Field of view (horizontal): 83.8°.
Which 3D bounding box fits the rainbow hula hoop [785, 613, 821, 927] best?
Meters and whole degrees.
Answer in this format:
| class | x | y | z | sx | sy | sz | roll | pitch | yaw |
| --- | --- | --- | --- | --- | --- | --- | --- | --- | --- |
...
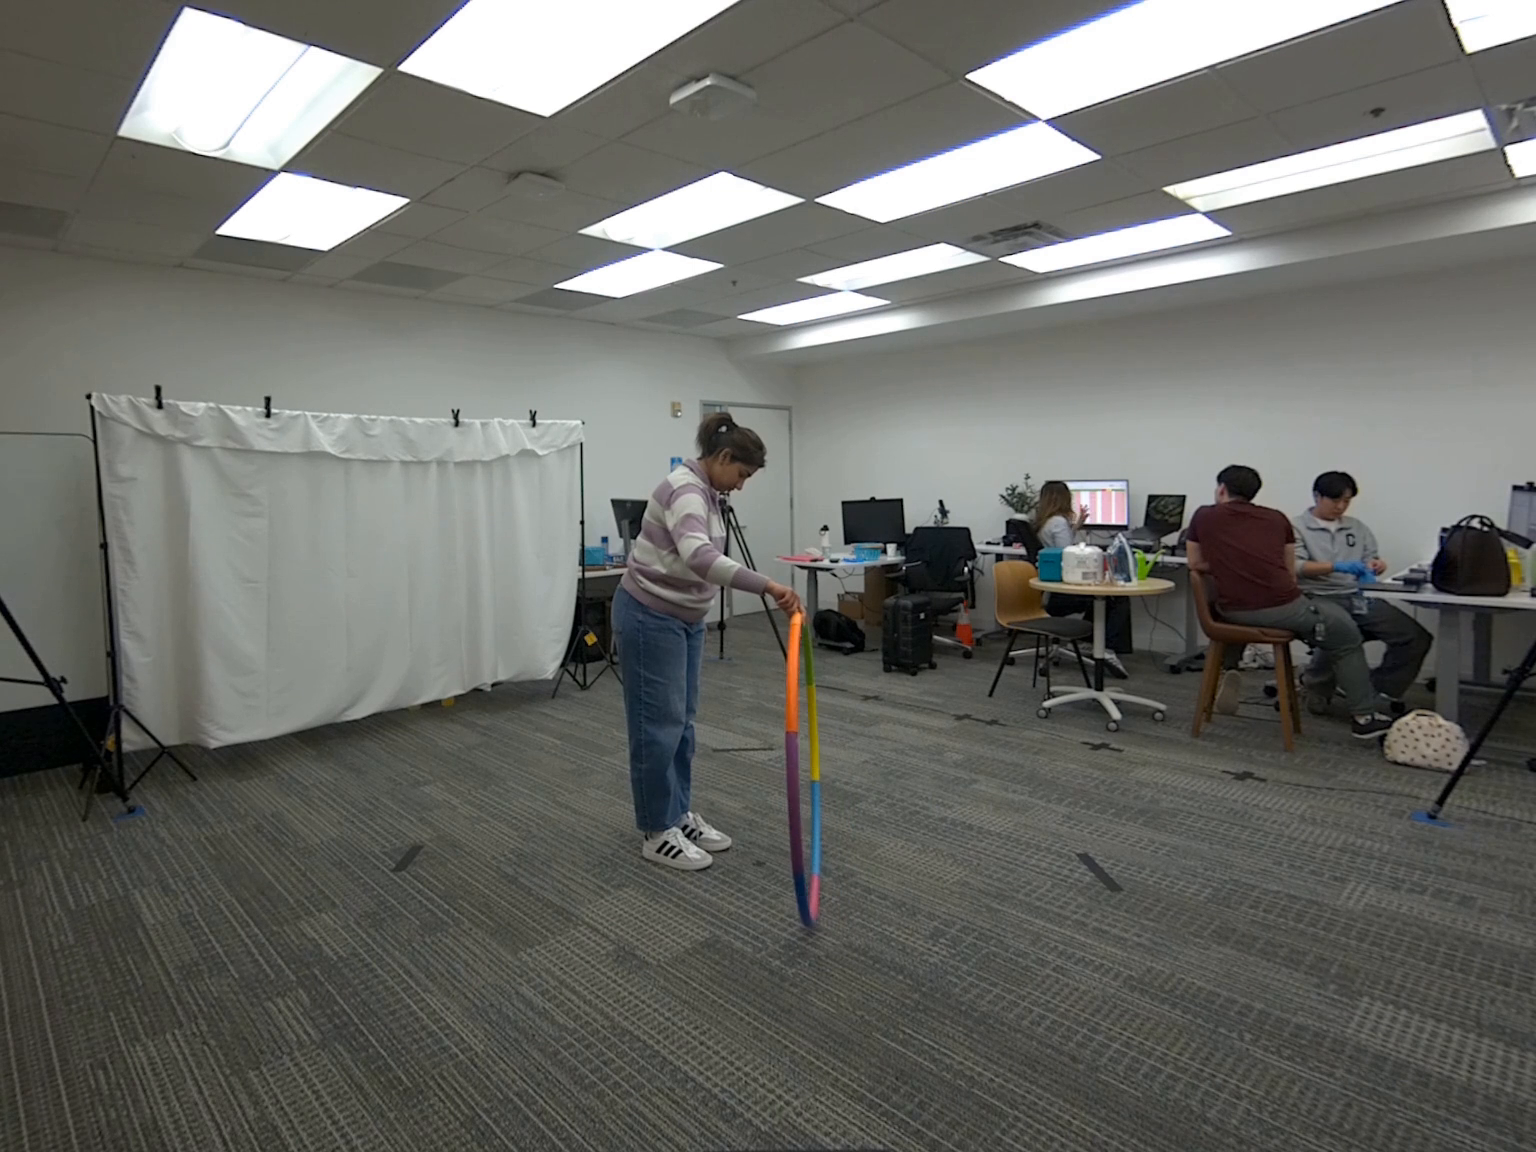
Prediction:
| class | x | y | z | sx | sy | sz | roll | pitch | yaw |
| --- | --- | --- | --- | --- | --- | --- | --- | --- | --- |
| rainbow hula hoop | 0.122 | 0.602 | 2.752 | 0.036 | 0.975 | 0.974 | -2 | 4 | 7 |
